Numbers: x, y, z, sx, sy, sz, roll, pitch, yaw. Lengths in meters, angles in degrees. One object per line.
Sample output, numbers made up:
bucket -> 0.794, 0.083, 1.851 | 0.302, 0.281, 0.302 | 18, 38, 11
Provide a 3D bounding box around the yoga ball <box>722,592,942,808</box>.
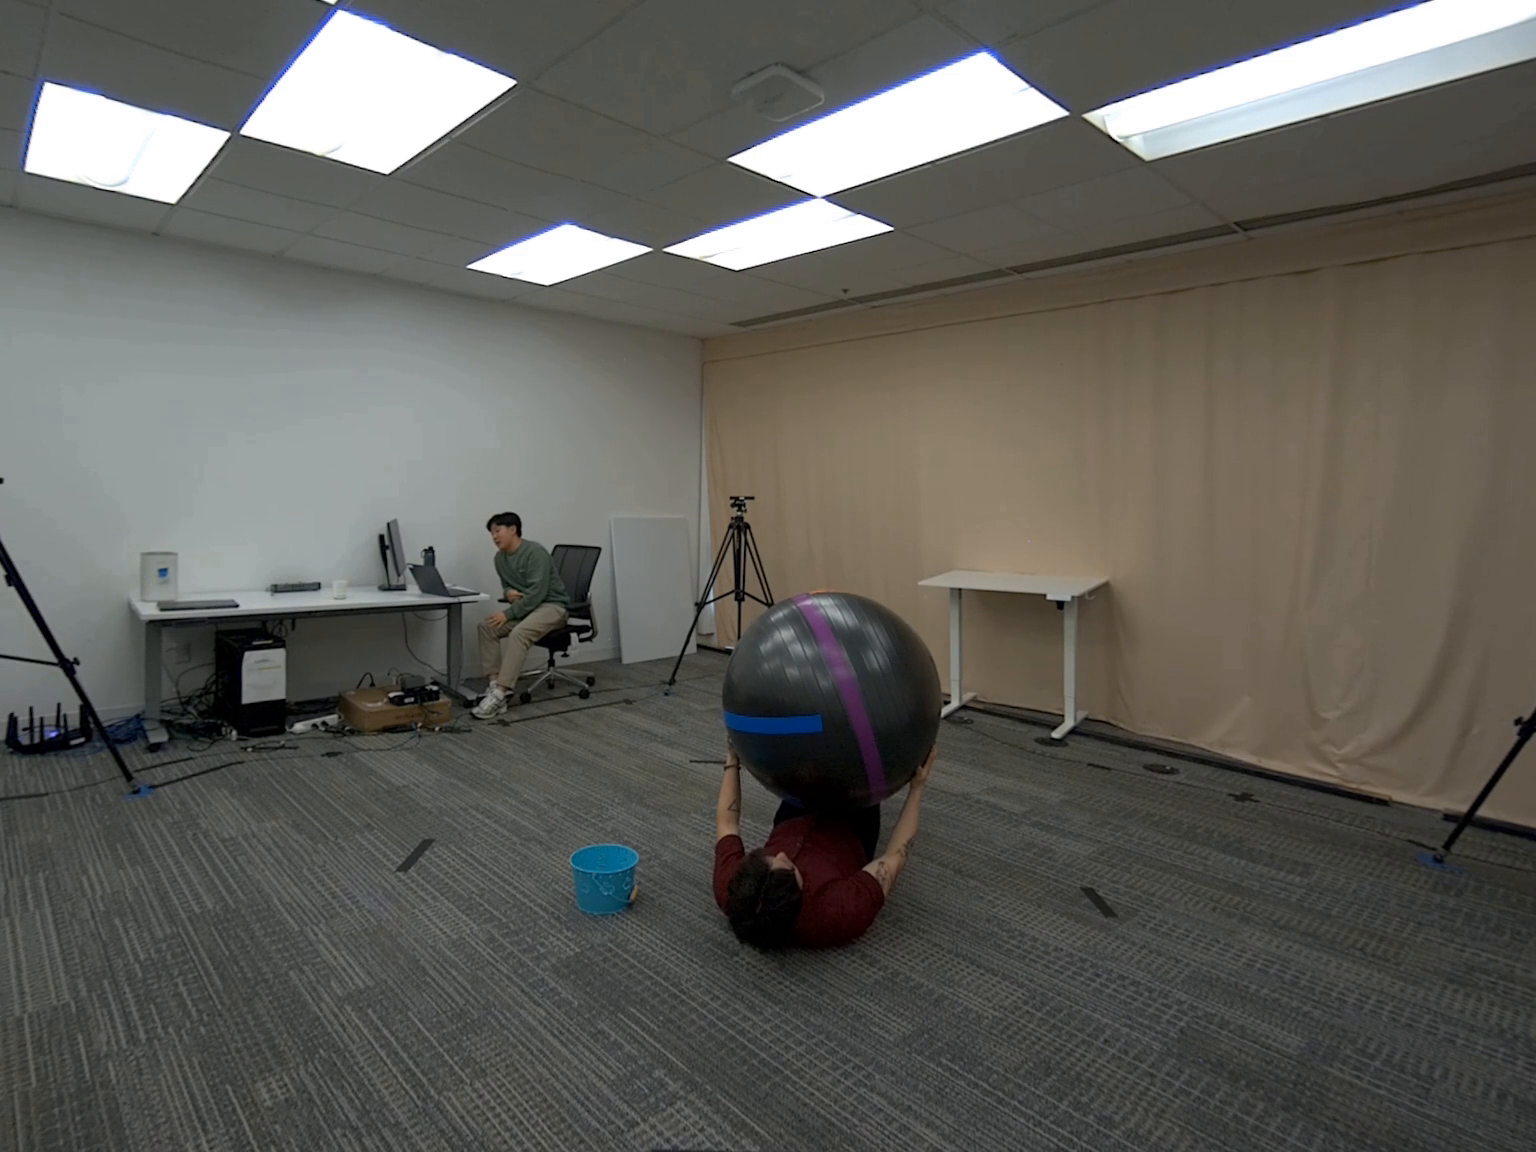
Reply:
yoga ball -> 0.217, 0.434, 2.960 | 0.757, 0.756, 0.761 | 1, 4, -1
